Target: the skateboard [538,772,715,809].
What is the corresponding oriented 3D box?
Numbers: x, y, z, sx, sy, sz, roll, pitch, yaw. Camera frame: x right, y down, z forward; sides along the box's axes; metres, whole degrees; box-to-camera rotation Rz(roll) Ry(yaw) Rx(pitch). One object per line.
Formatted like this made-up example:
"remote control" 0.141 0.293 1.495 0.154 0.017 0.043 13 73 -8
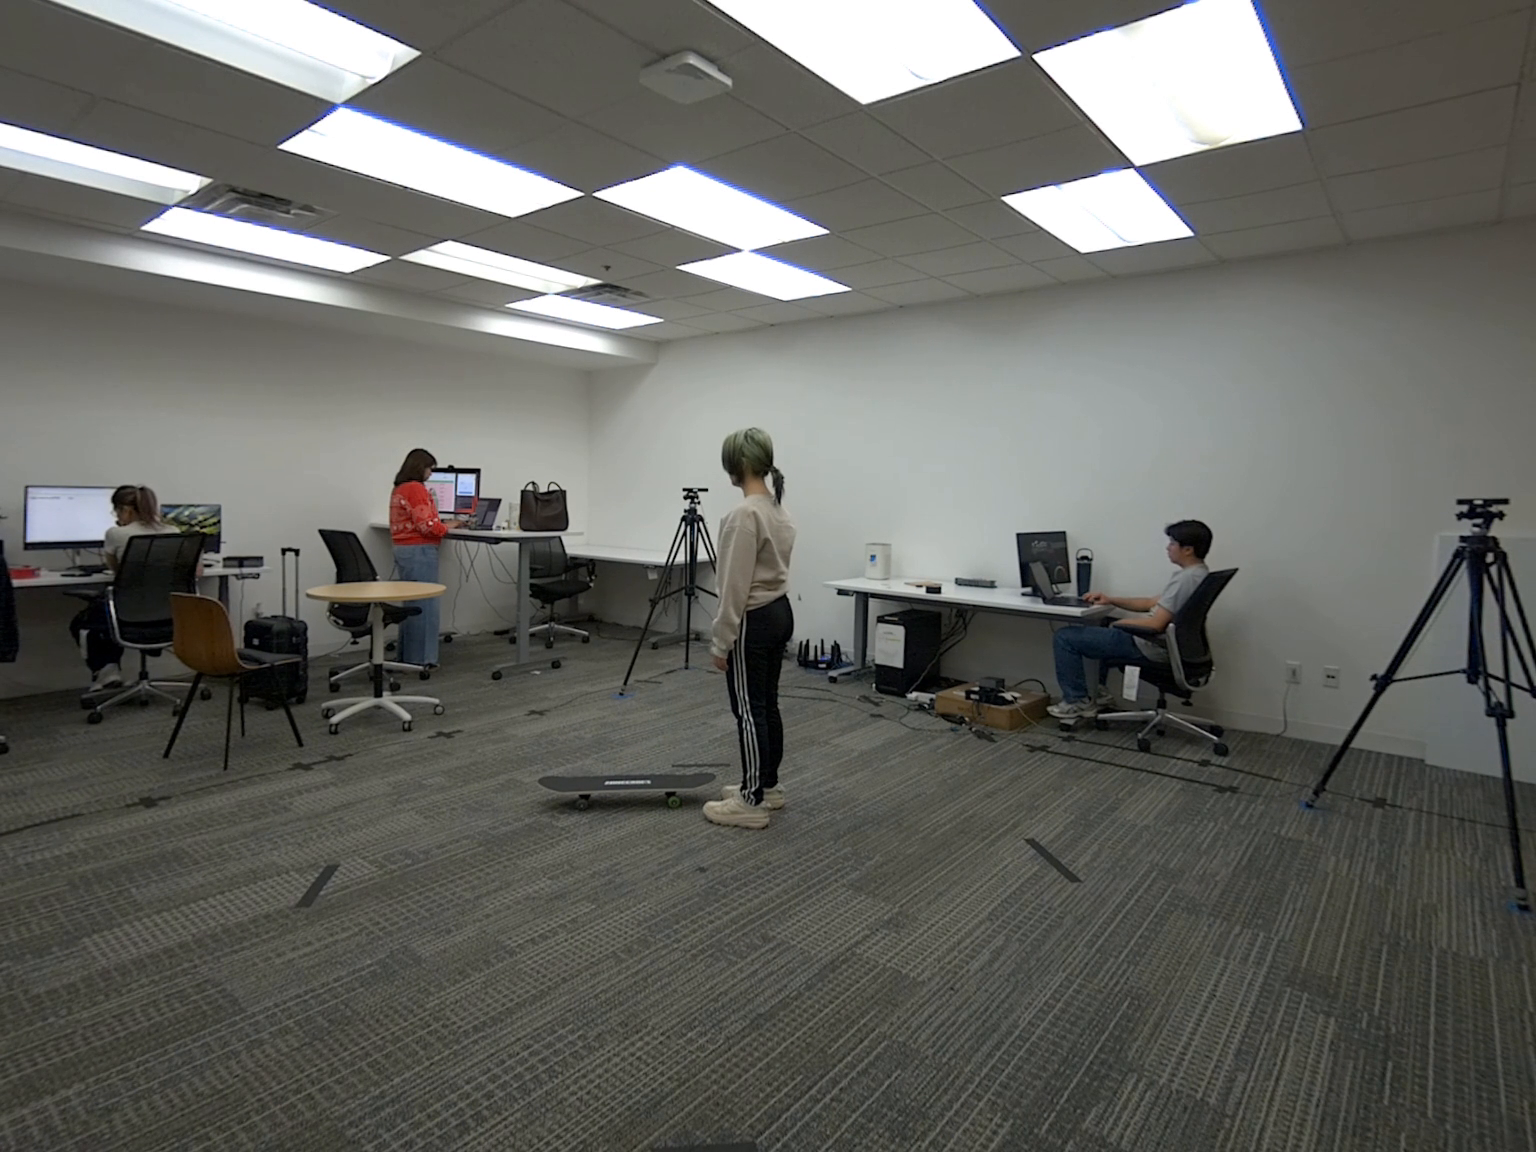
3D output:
"skateboard" -0.627 0.937 3.753 0.779 0.110 0.196 1 5 -7
